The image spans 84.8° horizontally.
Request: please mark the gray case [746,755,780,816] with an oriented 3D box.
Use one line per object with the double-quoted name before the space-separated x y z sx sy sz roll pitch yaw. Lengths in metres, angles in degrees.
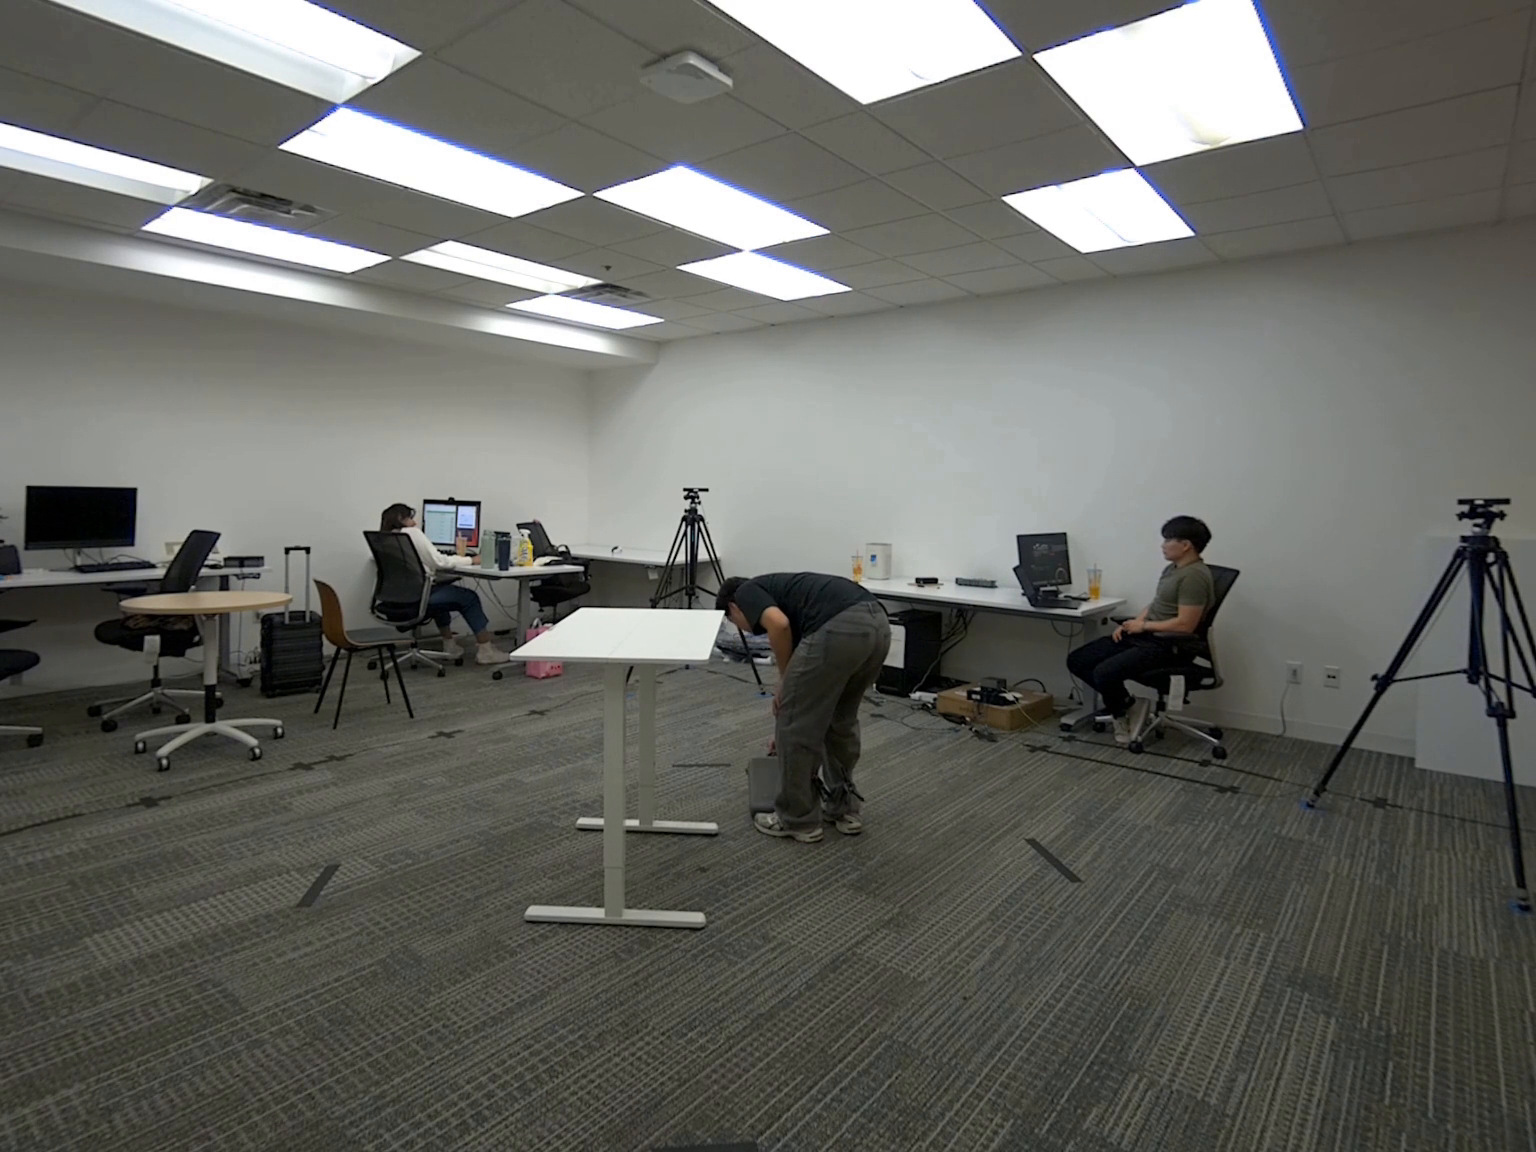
"gray case" 0.038 0.890 3.643 0.262 0.296 0.100 0 -42 -3
